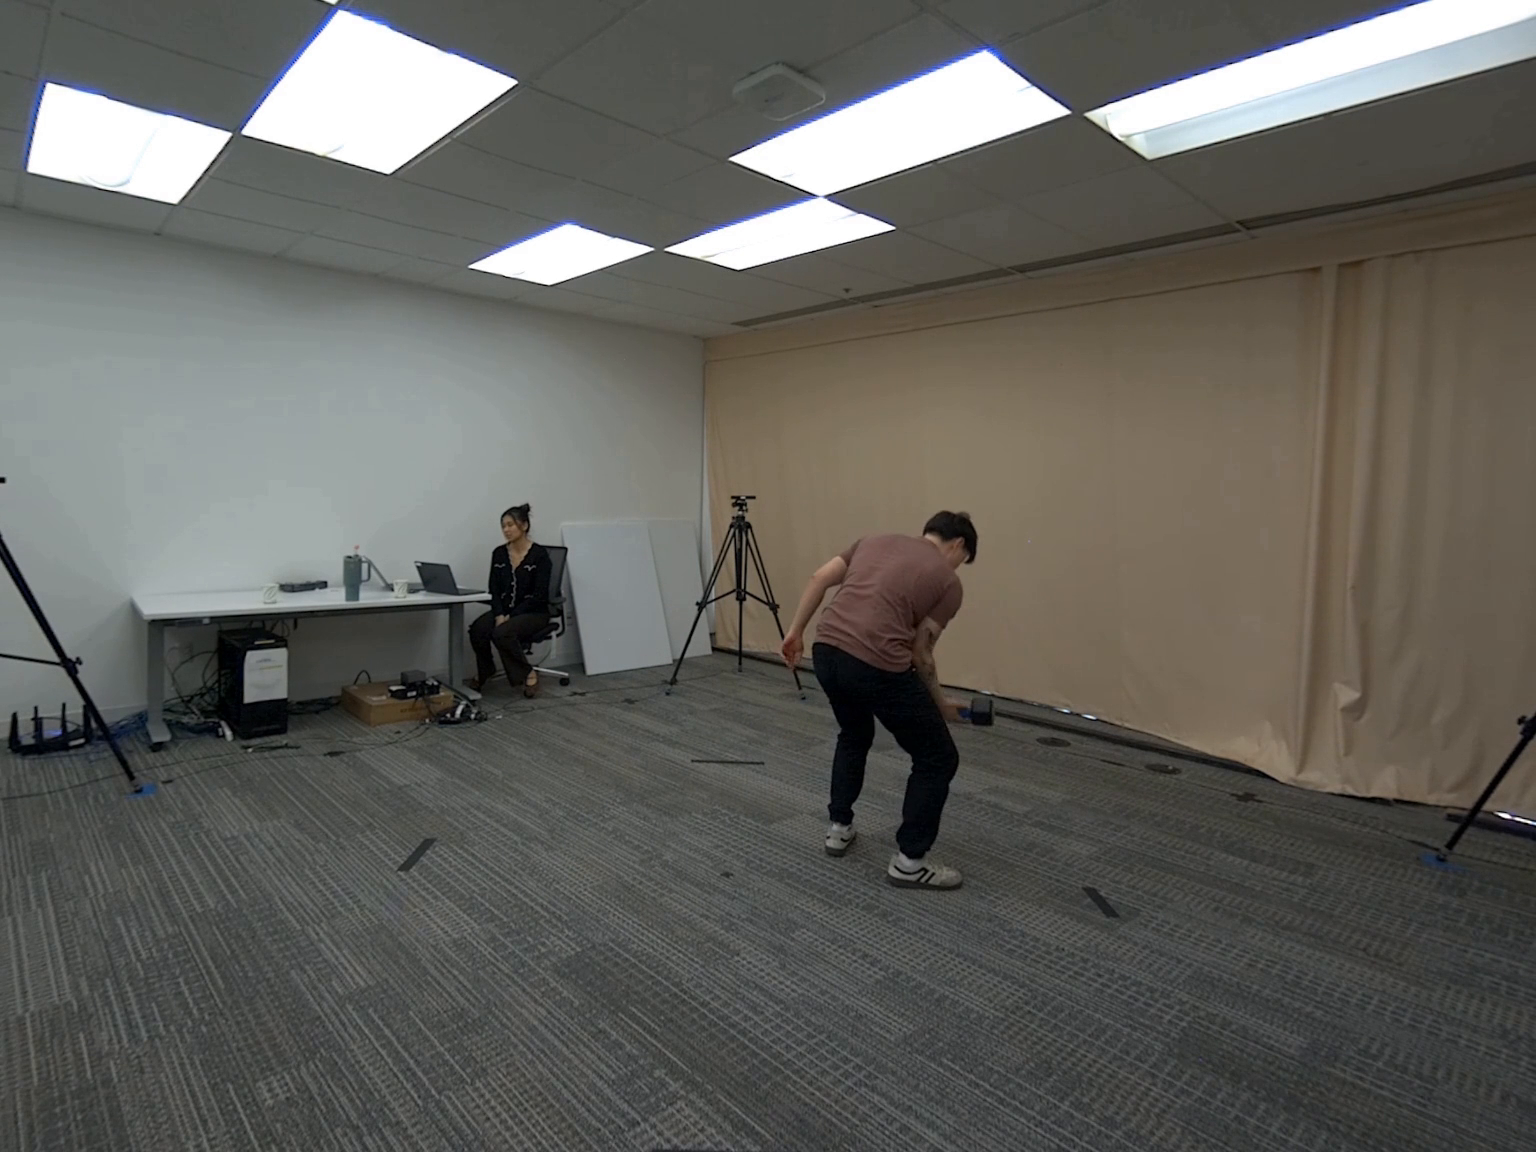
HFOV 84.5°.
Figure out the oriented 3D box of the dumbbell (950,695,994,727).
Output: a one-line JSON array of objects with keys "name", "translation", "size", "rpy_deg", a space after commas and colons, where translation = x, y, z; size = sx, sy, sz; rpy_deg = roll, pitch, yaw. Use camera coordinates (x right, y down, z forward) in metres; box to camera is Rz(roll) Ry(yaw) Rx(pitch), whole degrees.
[{"name": "dumbbell", "translation": [0.724, 0.535, 3.311], "size": [0.298, 0.109, 0.120], "rpy_deg": [-1, -11, 20]}]
